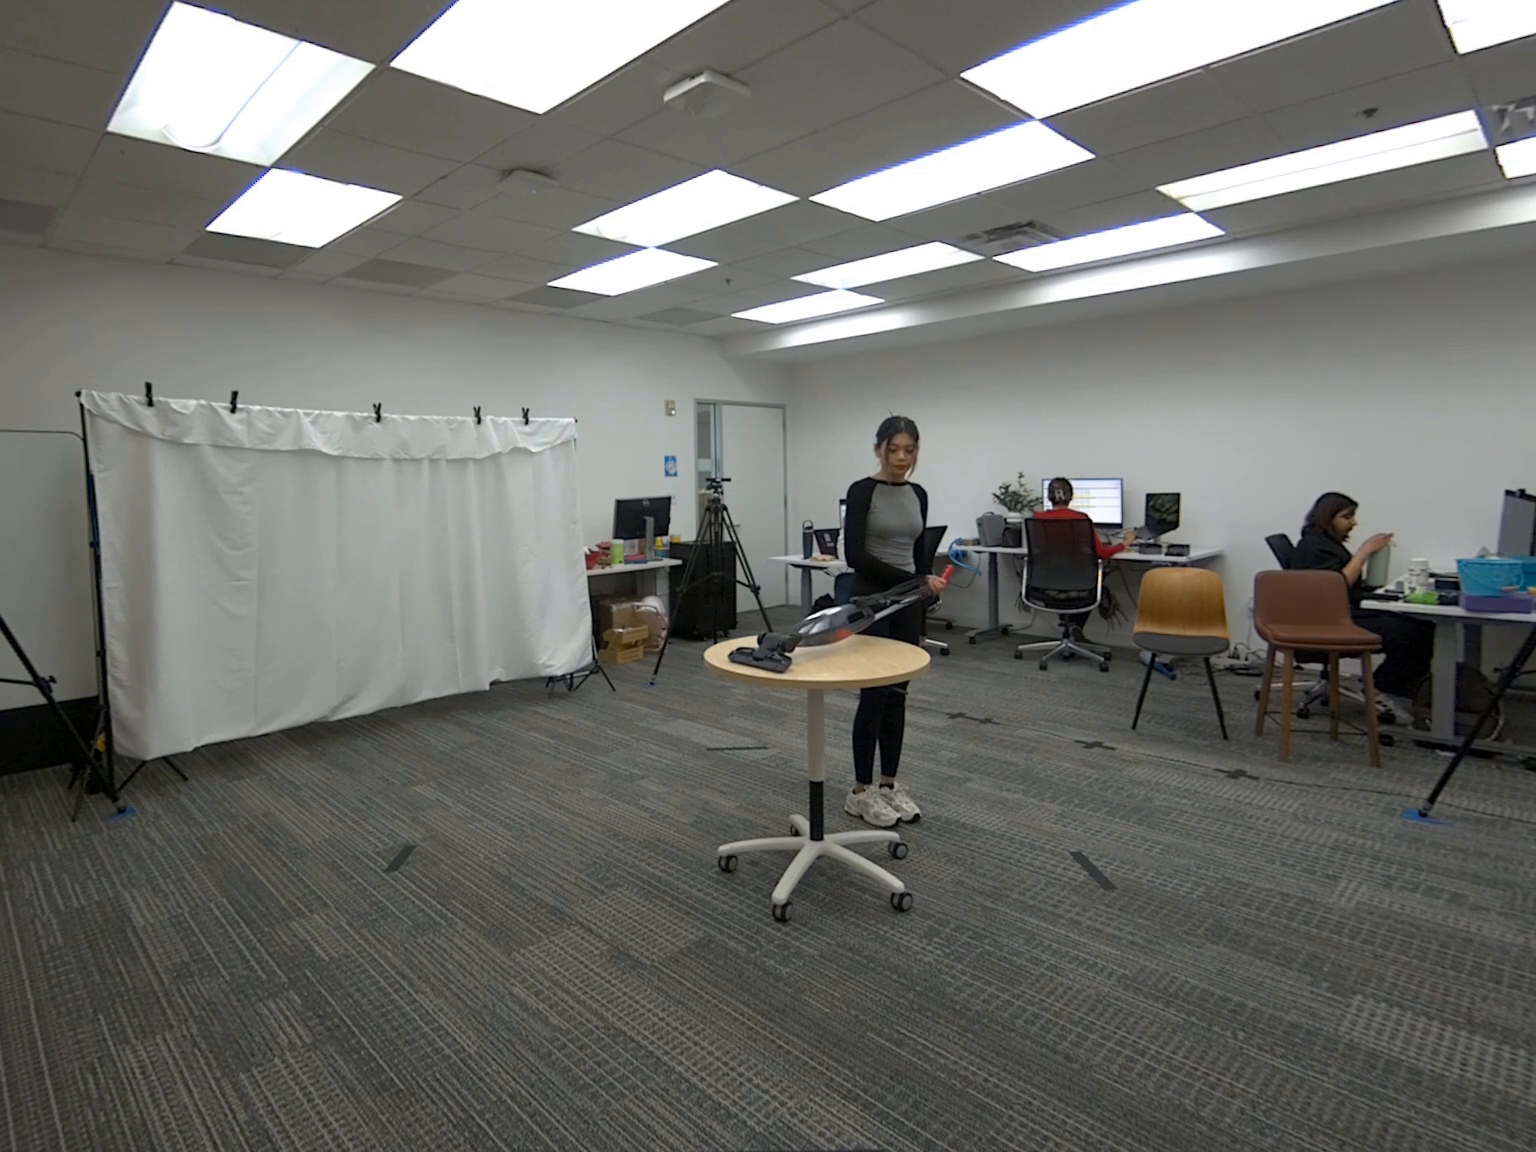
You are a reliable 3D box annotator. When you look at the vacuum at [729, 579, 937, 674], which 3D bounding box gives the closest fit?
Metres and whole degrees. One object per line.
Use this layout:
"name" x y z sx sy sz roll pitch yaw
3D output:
"vacuum" 0.337 0.123 3.076 0.262 0.141 1.031 18 29 42
